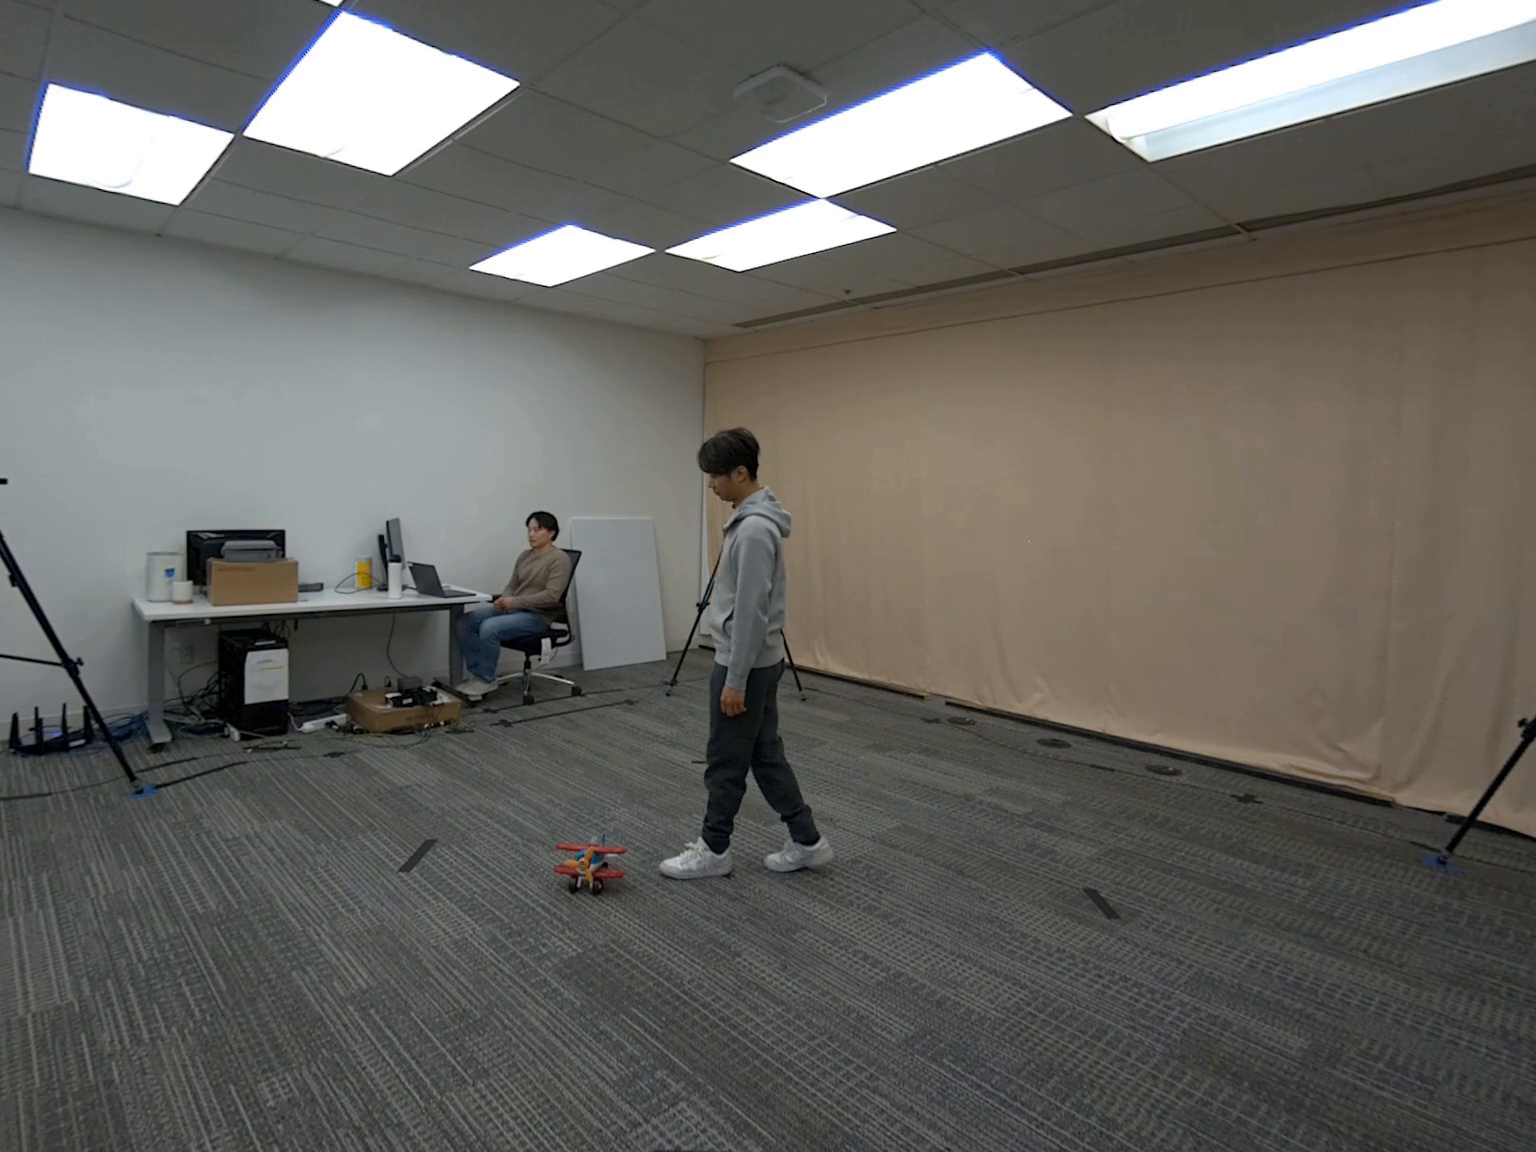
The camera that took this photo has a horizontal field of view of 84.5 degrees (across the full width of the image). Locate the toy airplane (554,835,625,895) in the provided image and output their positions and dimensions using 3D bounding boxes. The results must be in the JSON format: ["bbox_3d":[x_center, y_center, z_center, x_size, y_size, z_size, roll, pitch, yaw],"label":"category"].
[{"bbox_3d":[-0.658,1.033,3.023,0.247,0.156,0.264,0,6,-22],"label":"toy airplane"}]
